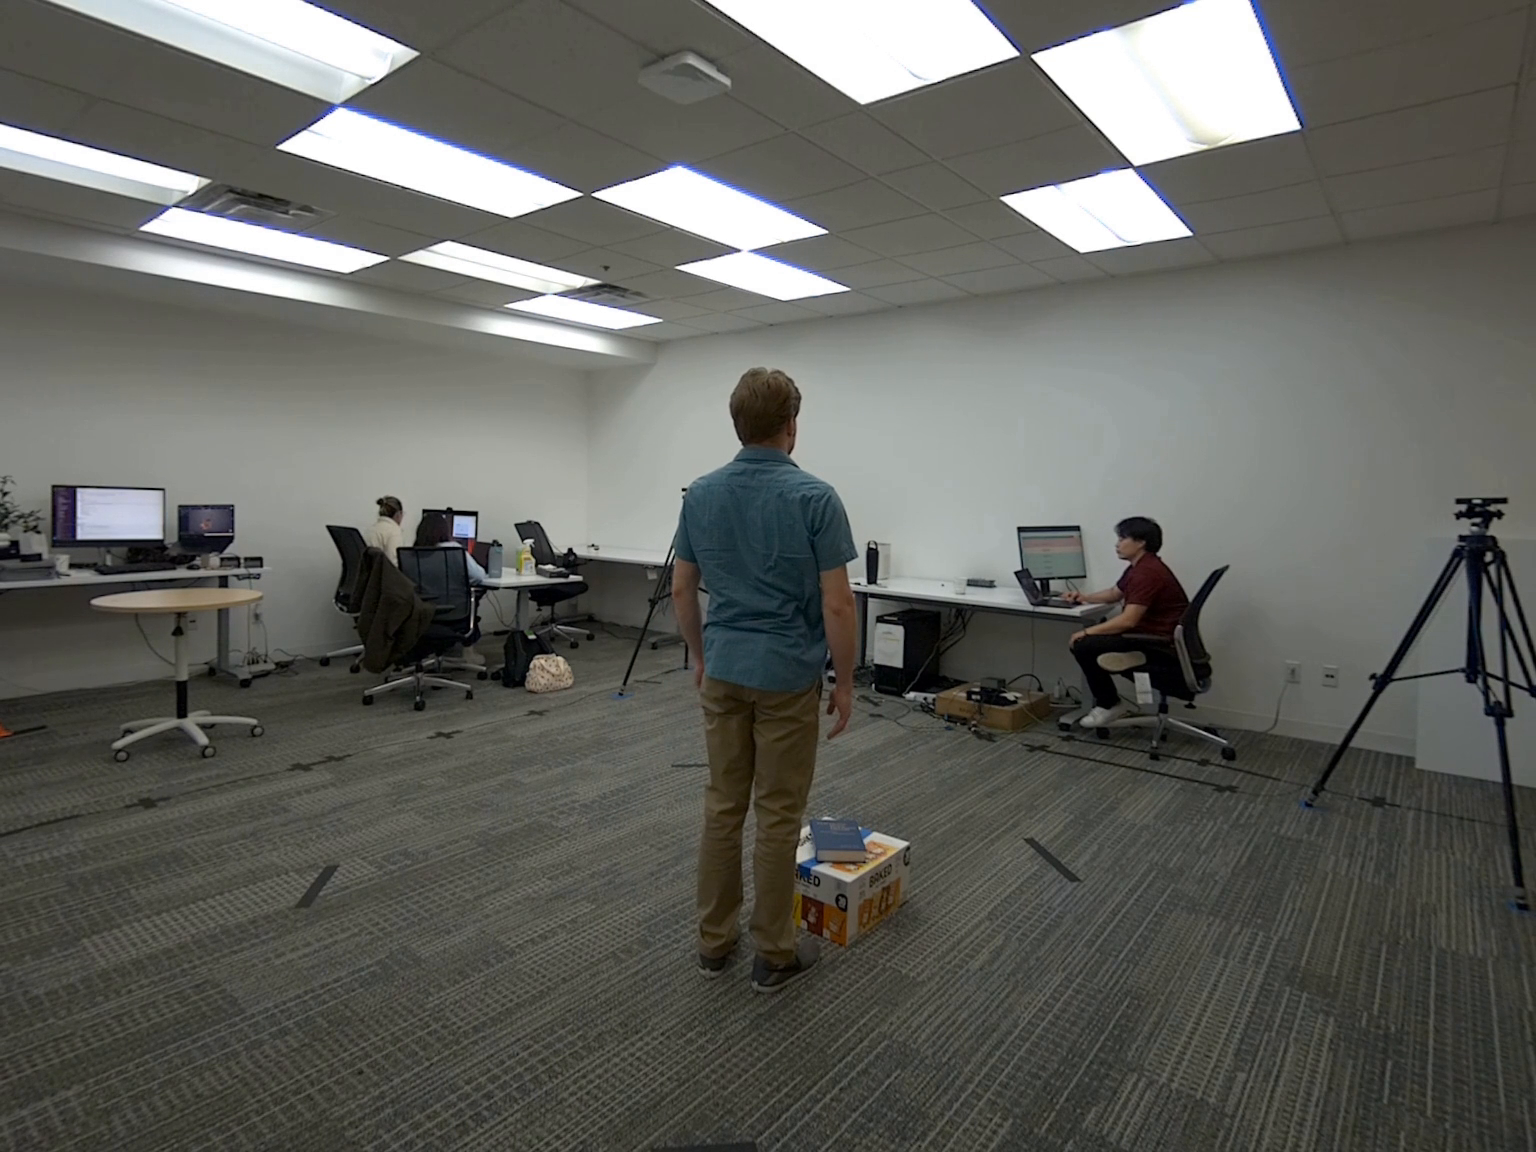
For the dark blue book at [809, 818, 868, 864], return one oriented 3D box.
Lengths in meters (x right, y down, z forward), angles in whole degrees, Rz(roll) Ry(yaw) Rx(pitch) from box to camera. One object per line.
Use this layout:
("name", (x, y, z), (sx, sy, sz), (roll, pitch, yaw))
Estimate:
("dark blue book", (0.234, 0.888, 2.859), (0.163, 0.045, 0.246), (1, 7, -1))
